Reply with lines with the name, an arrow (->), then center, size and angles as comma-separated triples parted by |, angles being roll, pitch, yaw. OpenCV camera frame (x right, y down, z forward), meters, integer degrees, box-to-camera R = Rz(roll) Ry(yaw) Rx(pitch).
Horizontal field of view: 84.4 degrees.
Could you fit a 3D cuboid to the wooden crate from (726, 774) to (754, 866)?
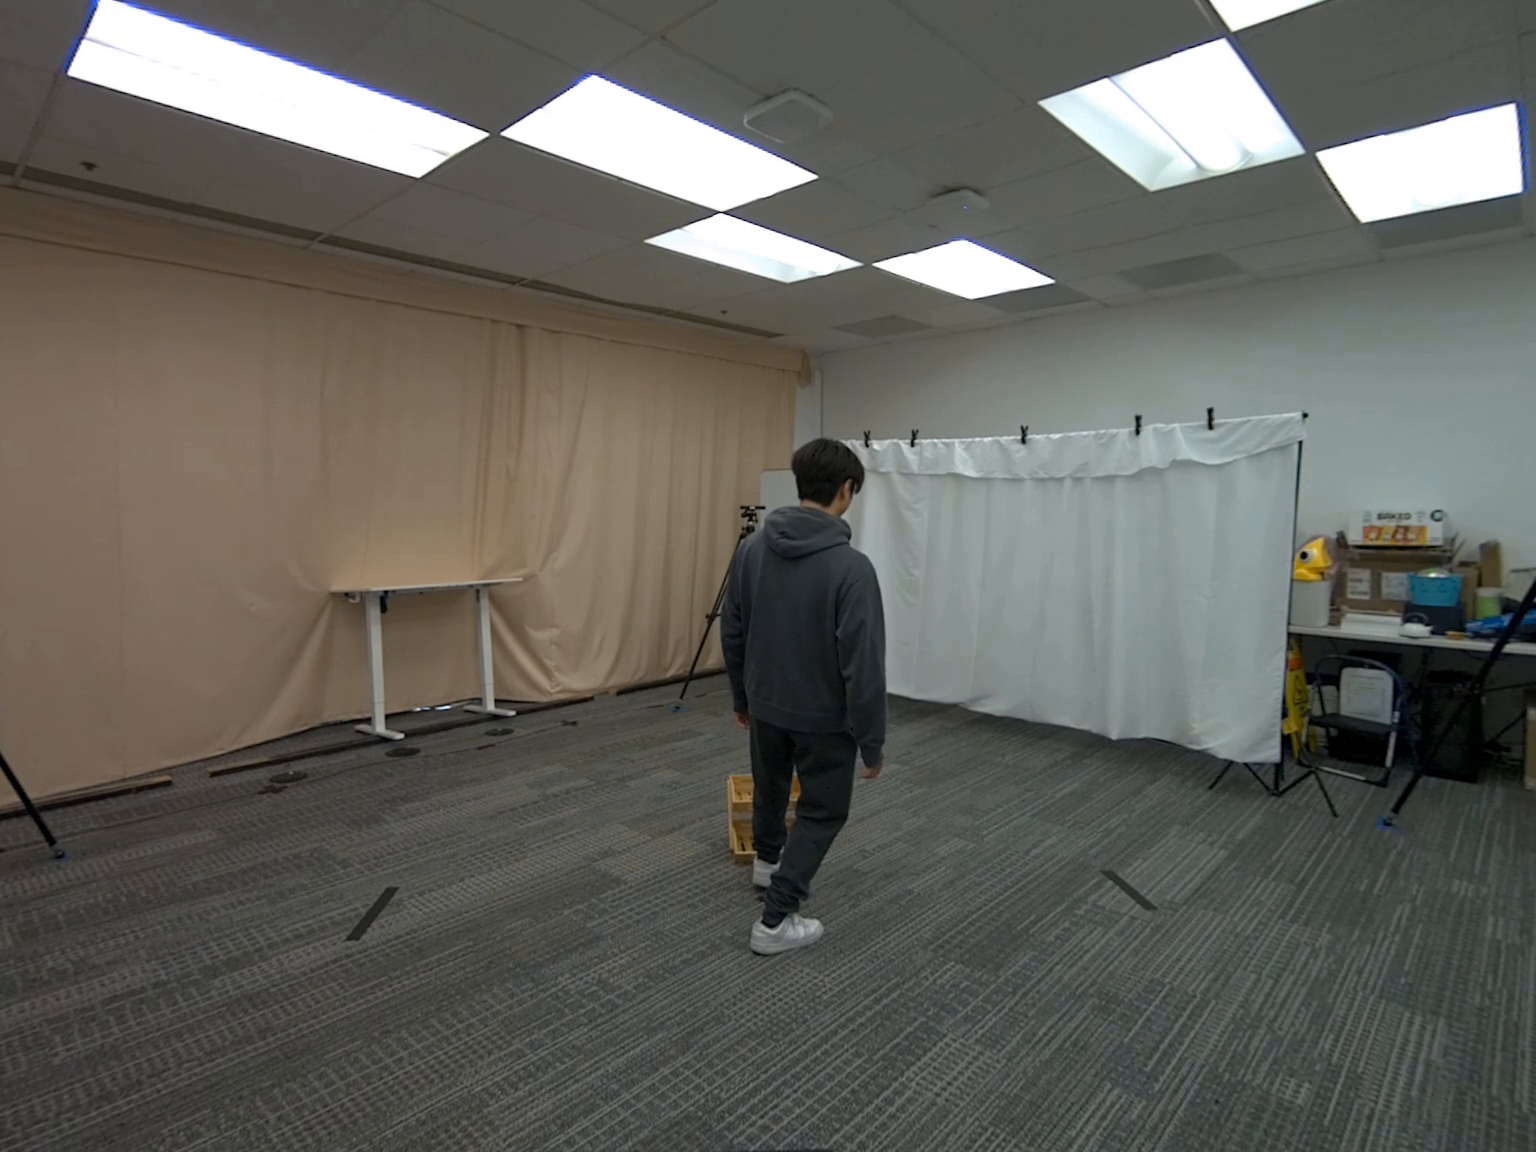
wooden crate -> 0.007, 0.972, 3.408 | 0.322, 0.273, 0.304 | -1, 3, -6
